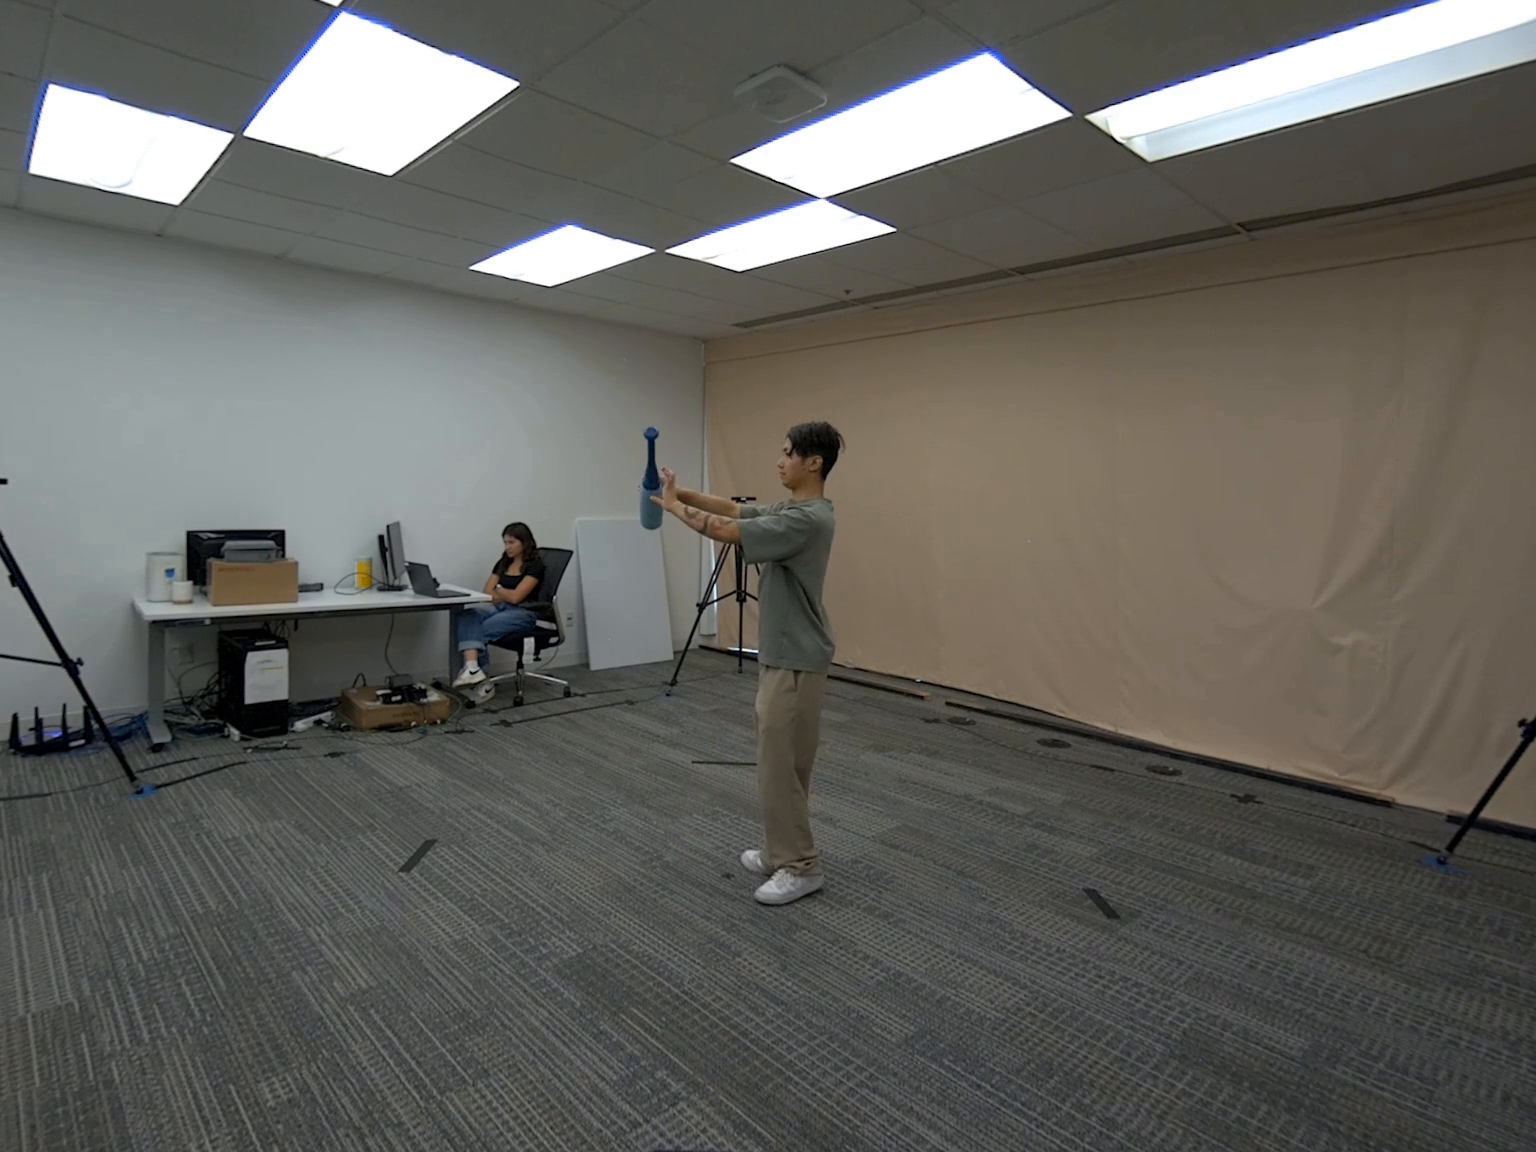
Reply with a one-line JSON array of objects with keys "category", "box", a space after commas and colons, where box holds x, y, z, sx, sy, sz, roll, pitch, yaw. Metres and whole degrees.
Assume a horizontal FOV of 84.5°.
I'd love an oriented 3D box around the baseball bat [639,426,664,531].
[{"category": "baseball bat", "box": [-0.419, -0.346, 2.990, 0.088, 0.091, 0.534, 2, -32, -7]}]
